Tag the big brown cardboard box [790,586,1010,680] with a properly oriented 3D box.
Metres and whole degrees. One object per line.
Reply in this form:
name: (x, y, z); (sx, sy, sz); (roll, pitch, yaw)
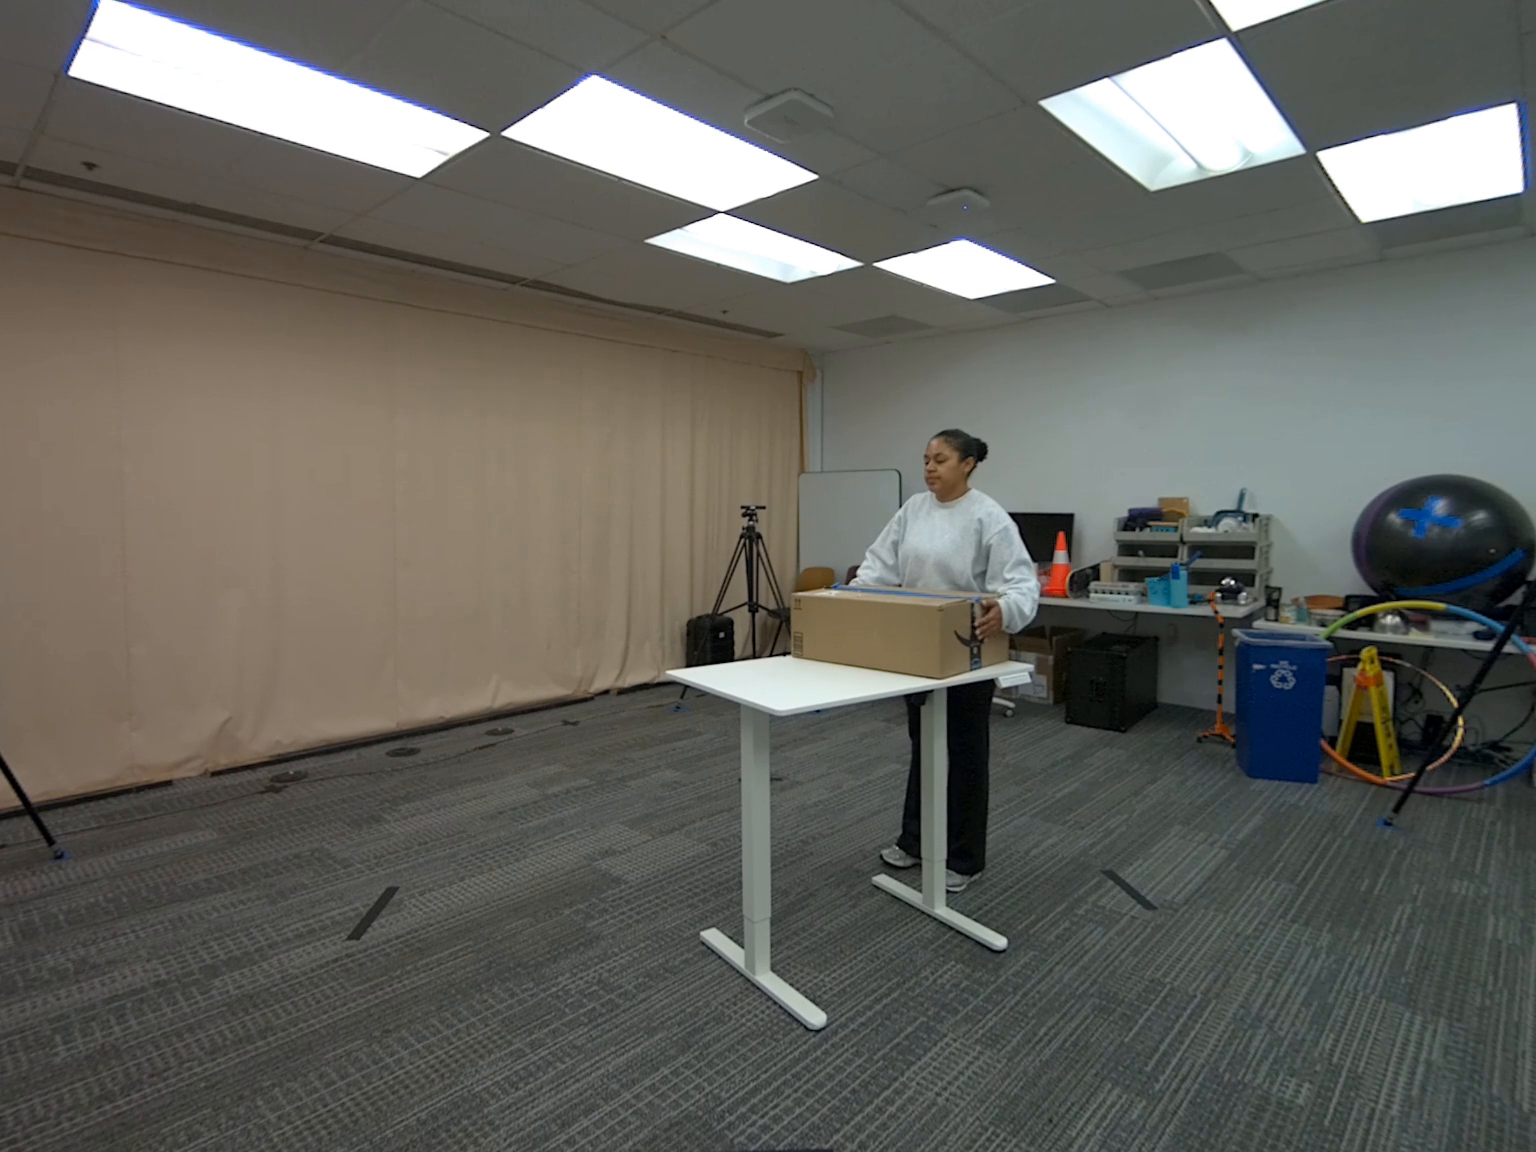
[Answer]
big brown cardboard box: (0.430, 0.169, 2.782); (0.609, 0.232, 0.405); (5, 7, 43)
